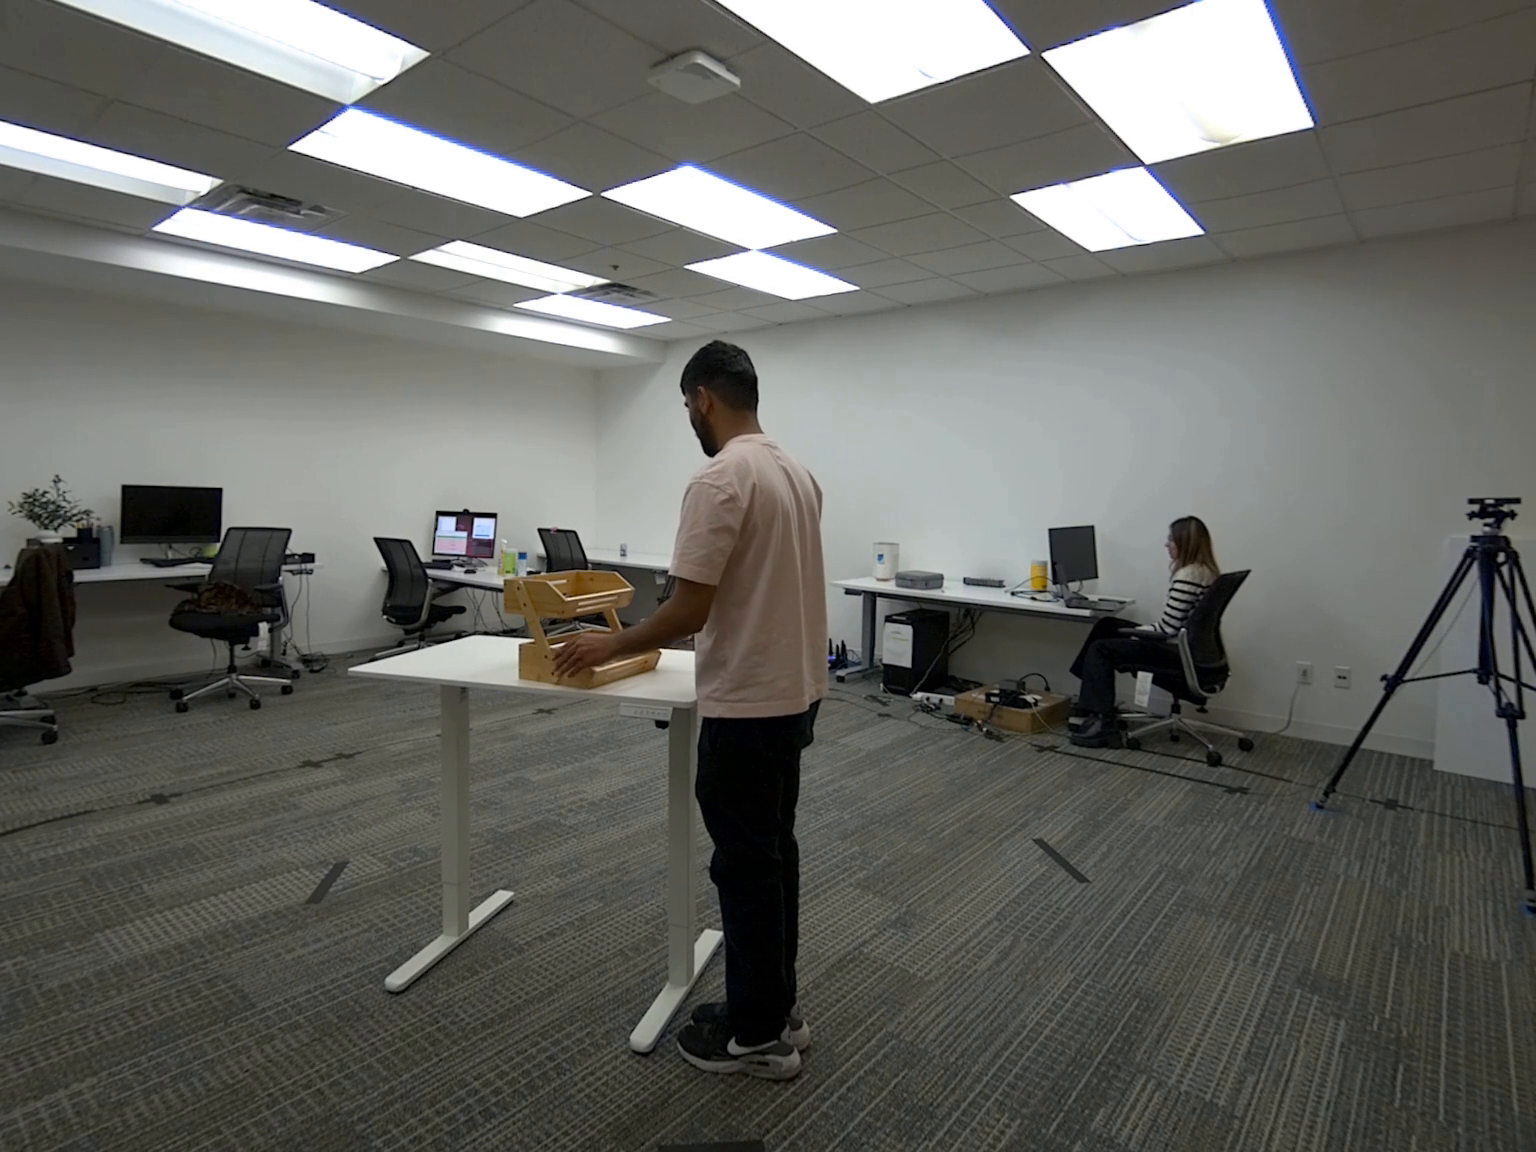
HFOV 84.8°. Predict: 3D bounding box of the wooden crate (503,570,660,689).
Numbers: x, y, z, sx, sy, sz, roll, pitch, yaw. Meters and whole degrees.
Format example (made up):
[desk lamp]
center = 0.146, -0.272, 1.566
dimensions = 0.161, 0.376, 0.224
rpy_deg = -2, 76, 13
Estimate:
[wooden crate]
center = -0.499, 0.129, 2.294
dimensions = 0.310, 0.272, 0.316
rpy_deg = 2, 5, 28
